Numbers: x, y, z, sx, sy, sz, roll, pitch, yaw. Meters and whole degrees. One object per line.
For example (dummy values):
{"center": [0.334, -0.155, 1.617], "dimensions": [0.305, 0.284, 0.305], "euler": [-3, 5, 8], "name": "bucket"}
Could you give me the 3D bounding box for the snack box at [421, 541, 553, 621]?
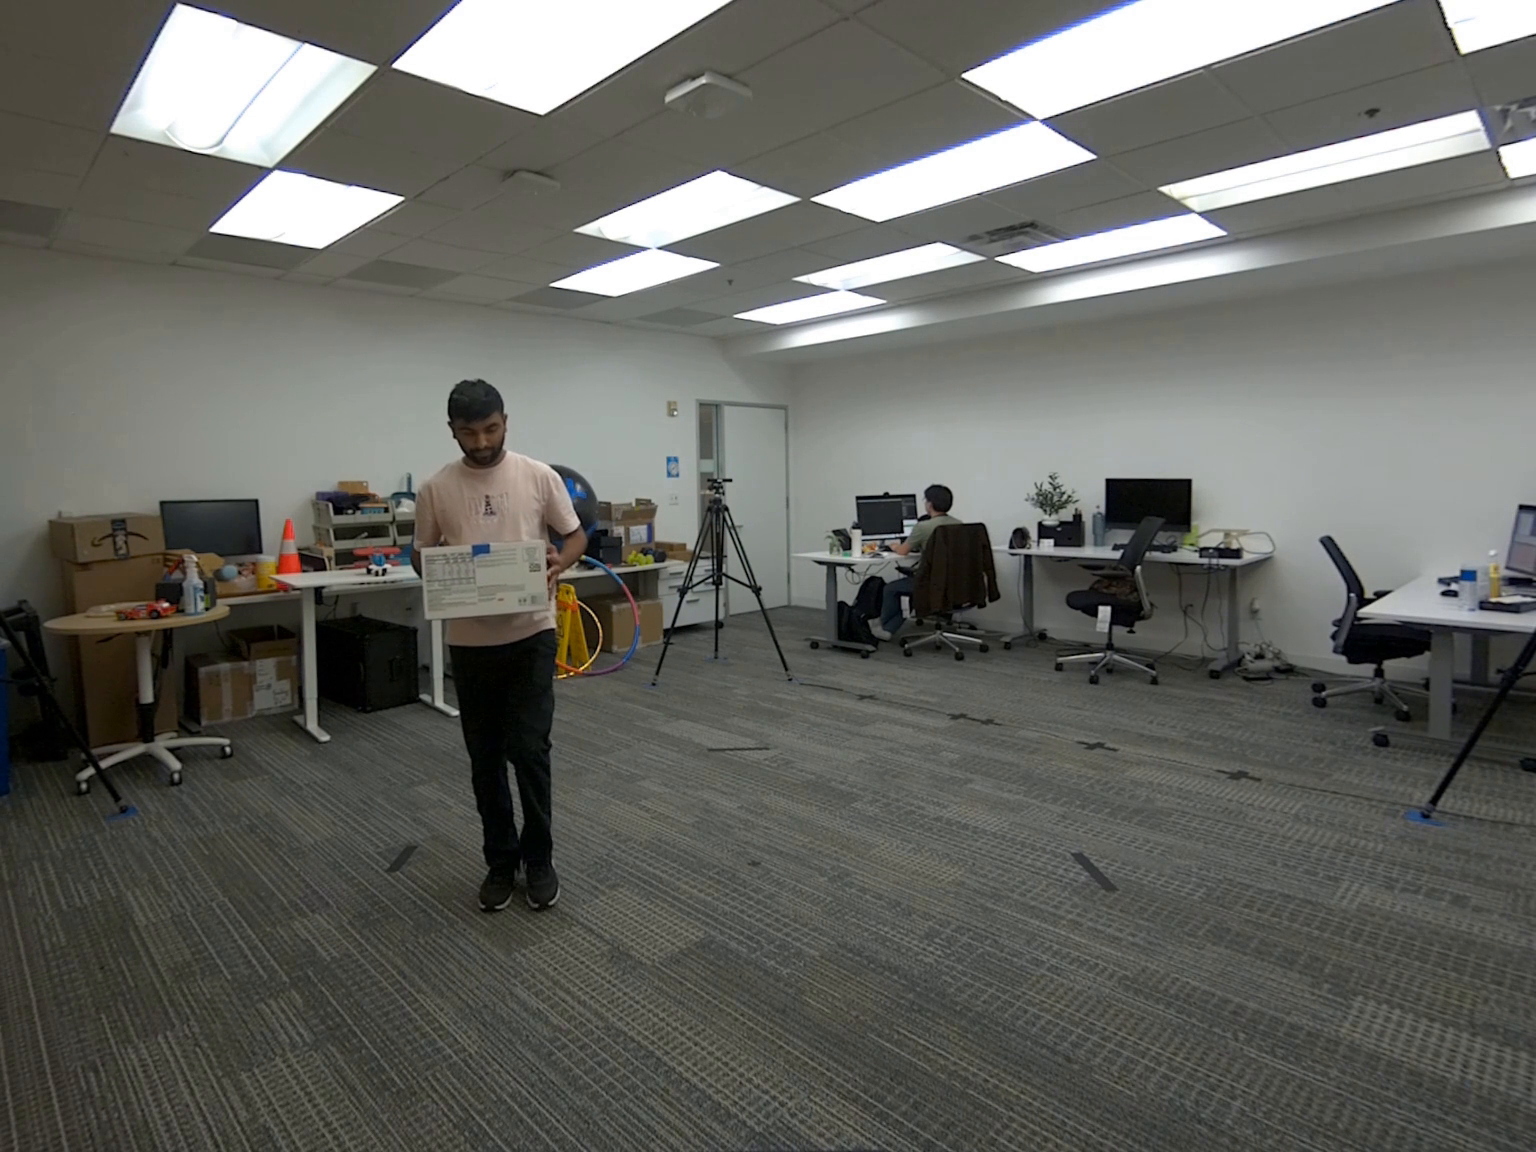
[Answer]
{"center": [-0.836, 0.016, 2.580], "dimensions": [0.337, 0.206, 0.409], "euler": [-5, -1, -13], "name": "snack box"}
